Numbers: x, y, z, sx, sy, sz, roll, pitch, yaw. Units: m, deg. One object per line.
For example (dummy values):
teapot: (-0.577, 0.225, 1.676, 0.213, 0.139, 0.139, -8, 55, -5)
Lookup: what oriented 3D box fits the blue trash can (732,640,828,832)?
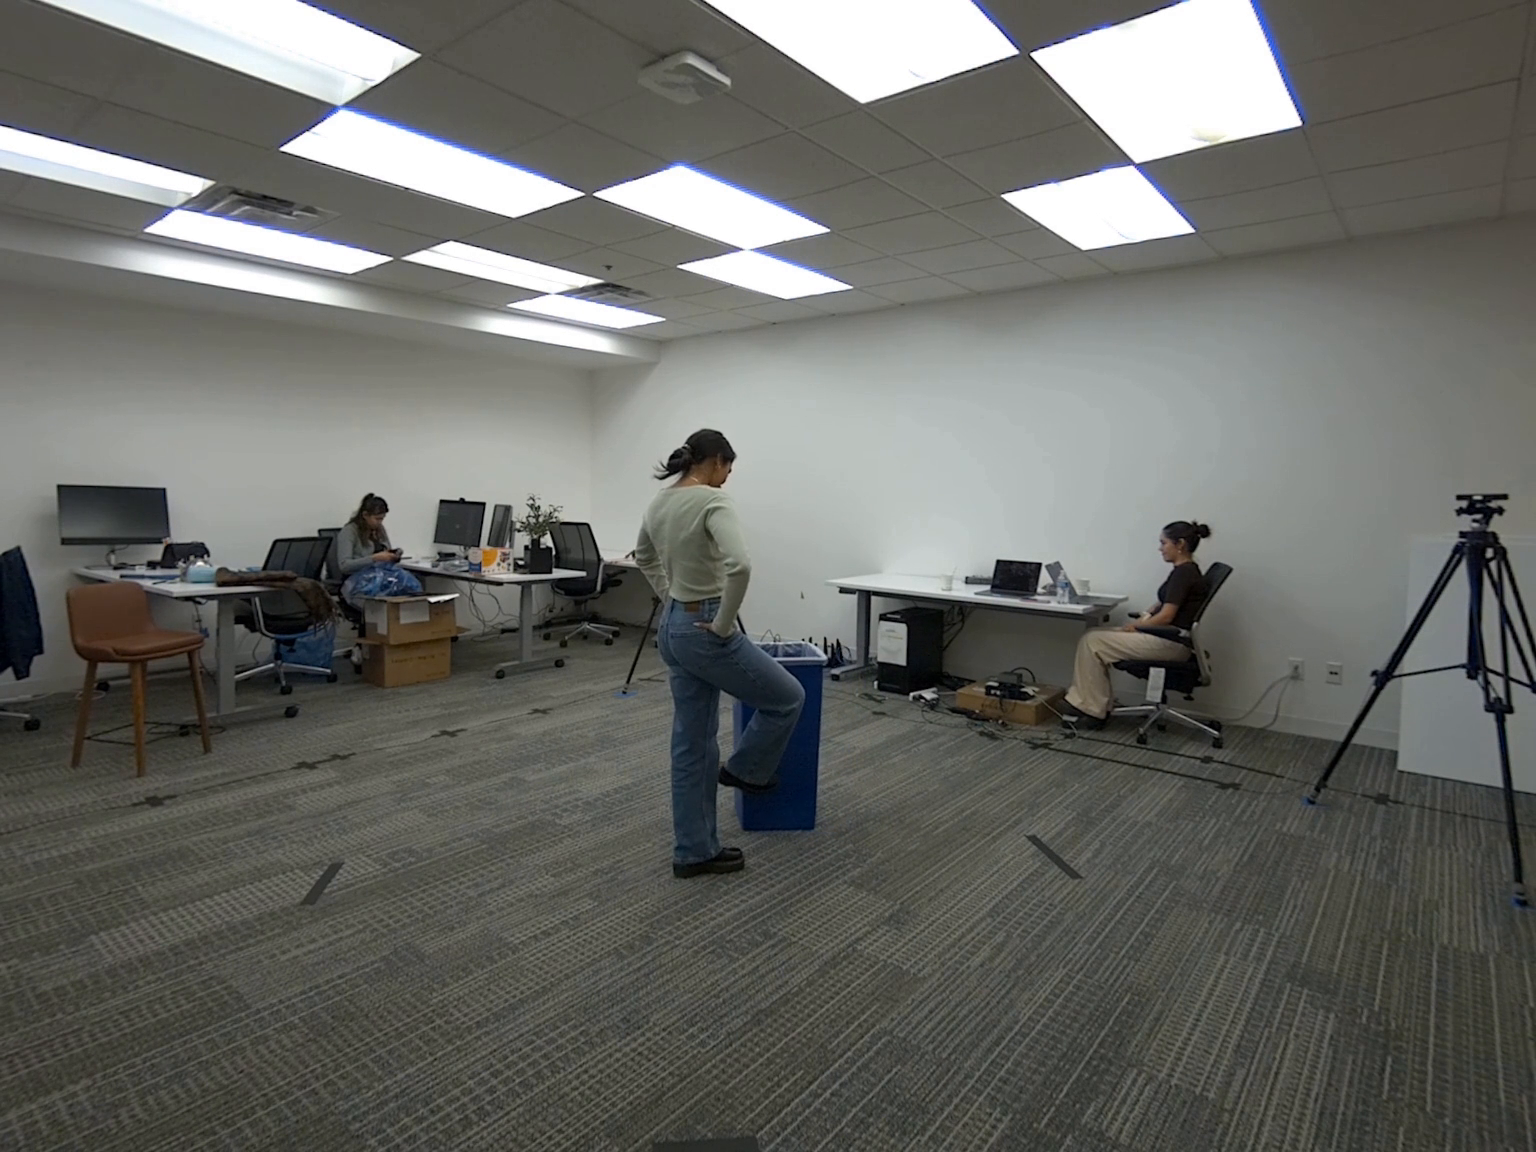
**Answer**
blue trash can: (0.017, 0.665, 3.592, 0.371, 0.711, 0.382, 1, 3, -8)
